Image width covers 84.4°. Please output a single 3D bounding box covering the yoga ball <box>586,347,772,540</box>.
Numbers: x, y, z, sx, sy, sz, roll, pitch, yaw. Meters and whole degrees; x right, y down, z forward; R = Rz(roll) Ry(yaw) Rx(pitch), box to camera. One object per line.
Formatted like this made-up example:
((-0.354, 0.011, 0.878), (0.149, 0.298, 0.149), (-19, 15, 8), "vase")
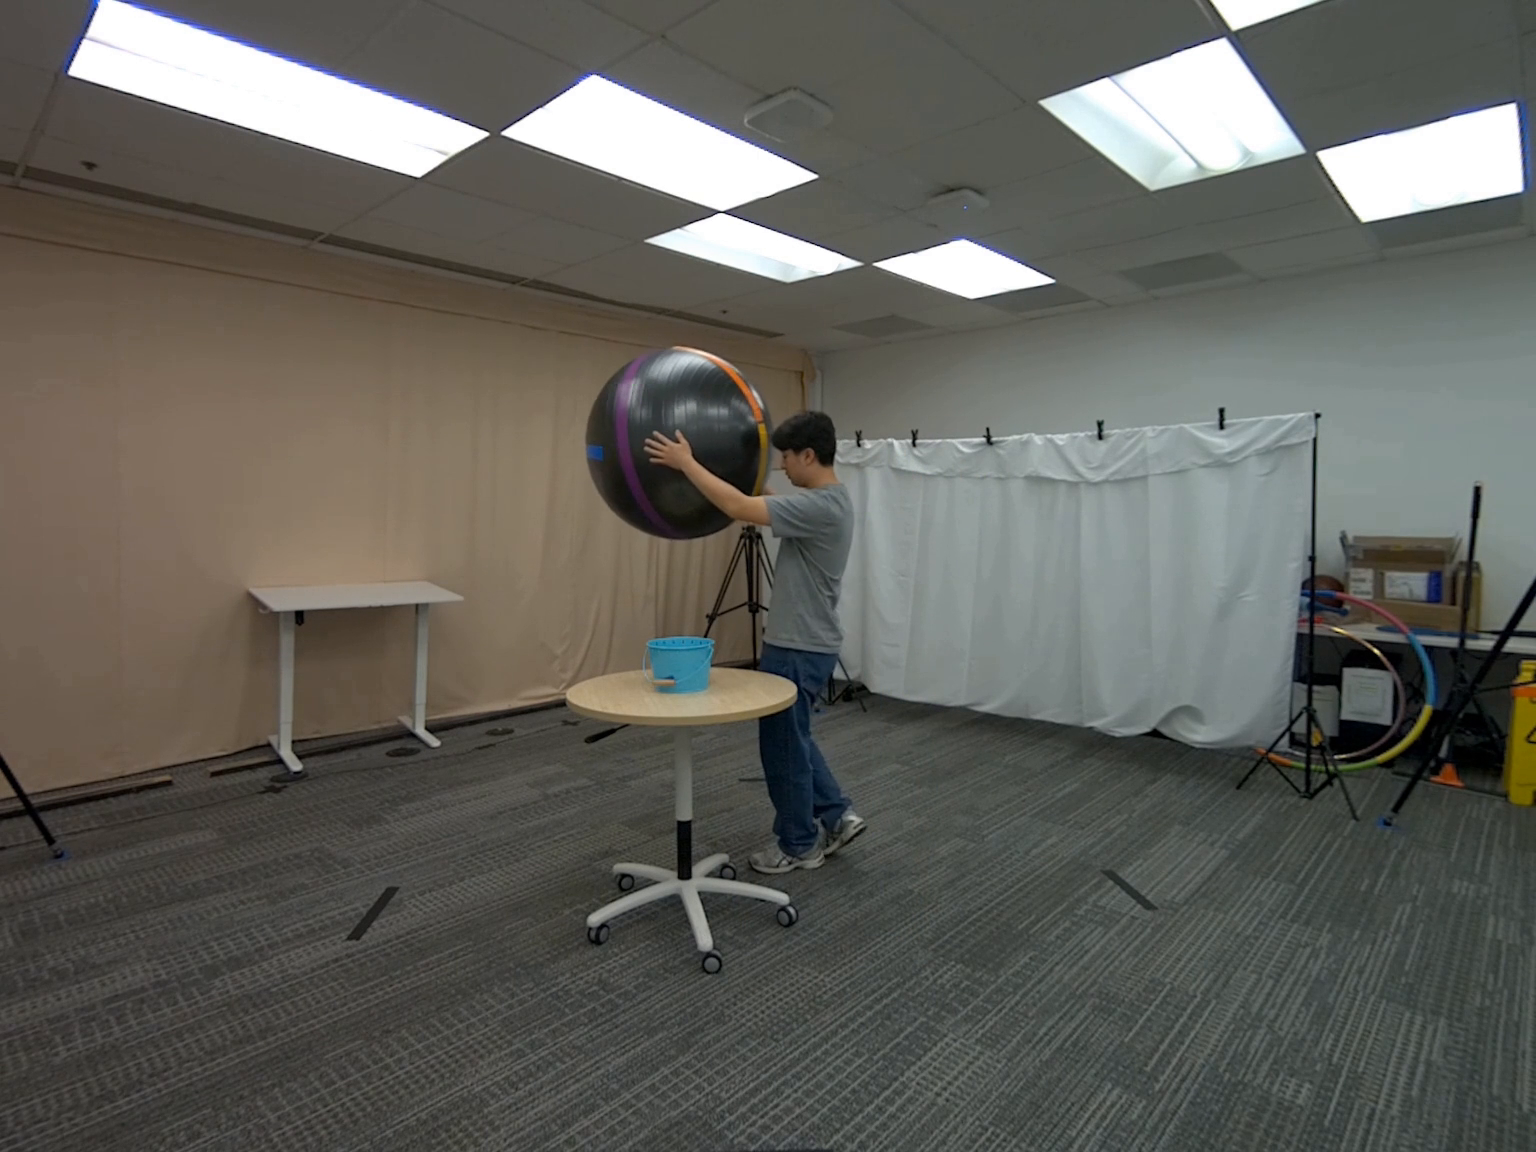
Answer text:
((-0.348, -0.518, 3.382), (0.757, 0.756, 0.760), (0, 4, -2), "yoga ball")
